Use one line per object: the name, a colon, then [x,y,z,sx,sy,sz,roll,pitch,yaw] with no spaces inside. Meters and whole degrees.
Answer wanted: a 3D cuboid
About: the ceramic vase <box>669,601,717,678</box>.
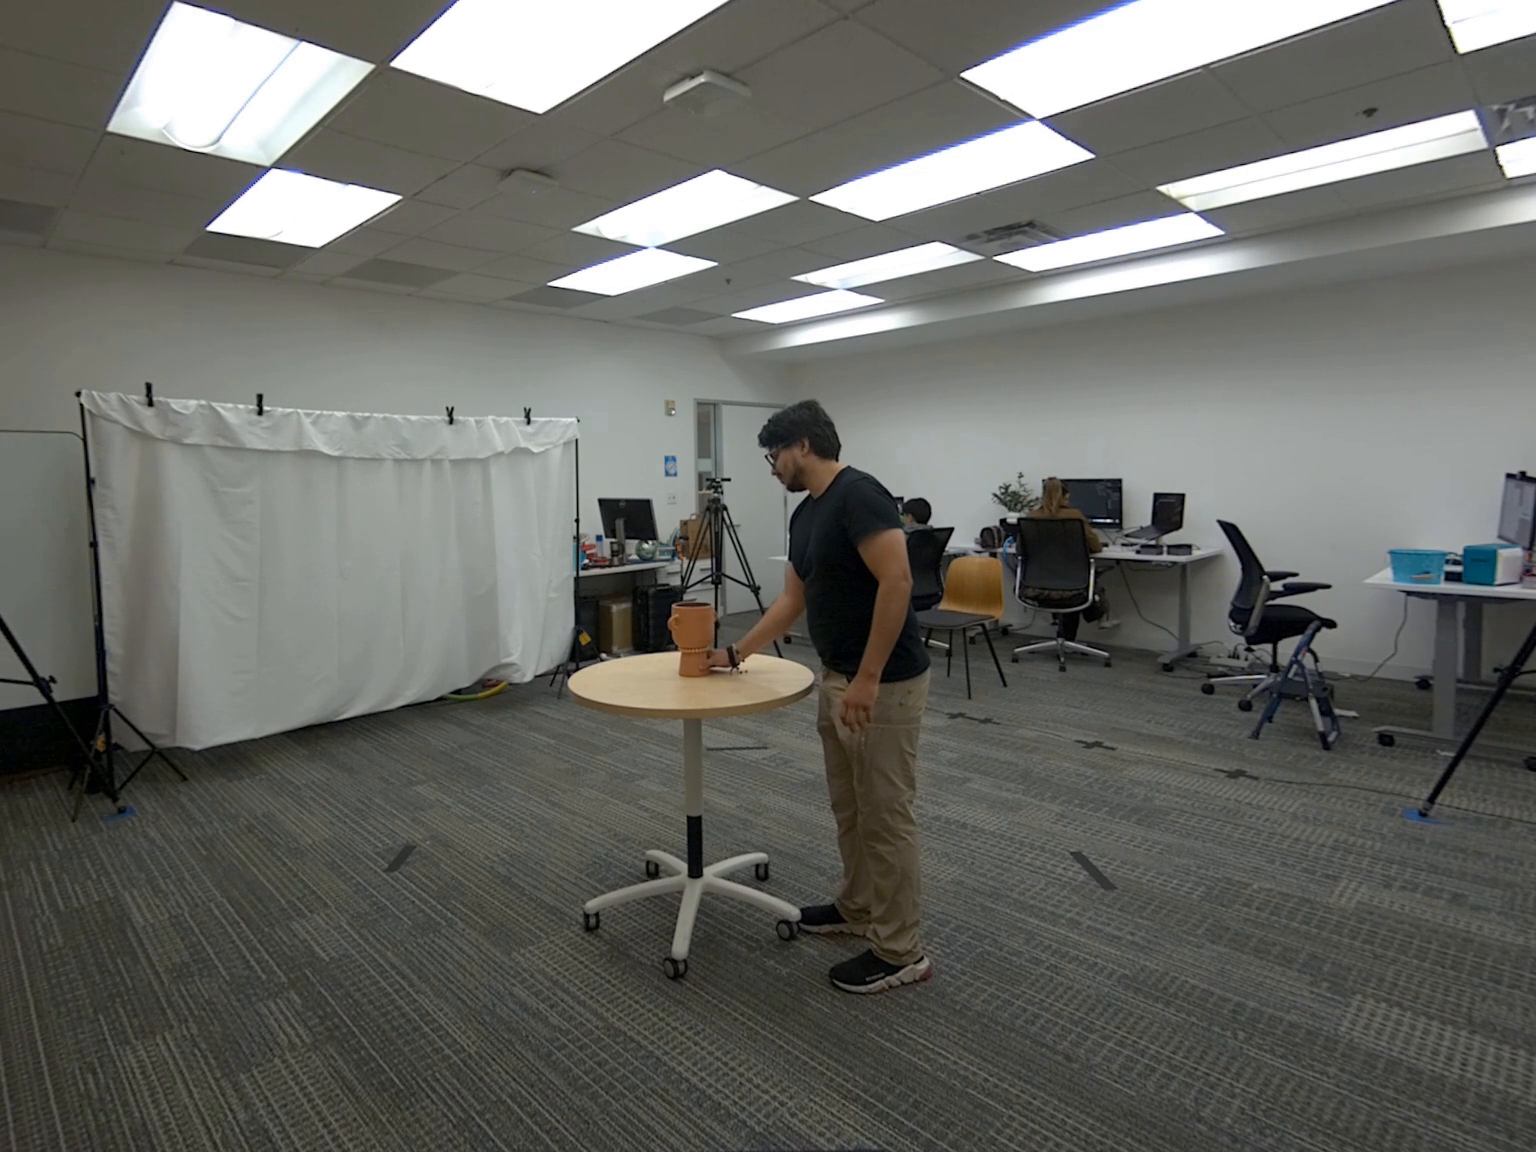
ceramic vase: [-0.219,0.199,2.699,0.158,0.218,0.136,-3,6,-6]
